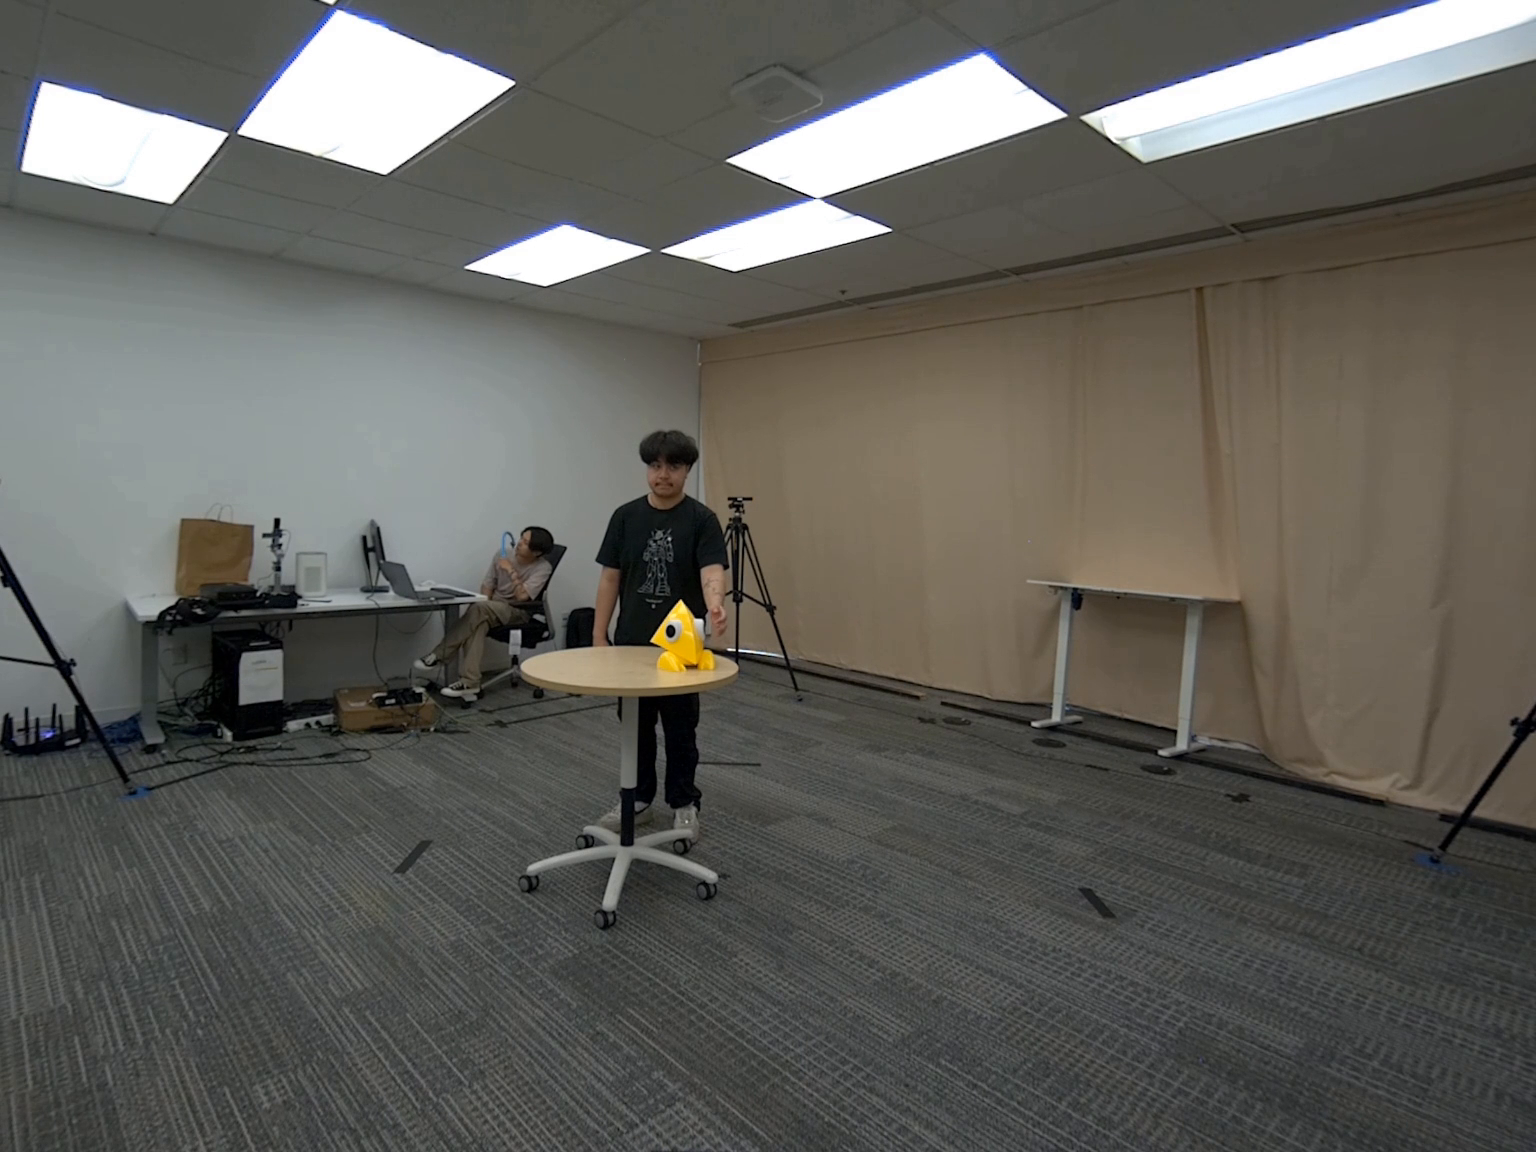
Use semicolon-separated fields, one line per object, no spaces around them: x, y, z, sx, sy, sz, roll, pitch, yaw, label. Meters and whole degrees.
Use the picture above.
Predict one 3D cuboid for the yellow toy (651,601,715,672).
-0.306;0.210;2.996;0.201;0.230;0.197;1;4;-27;yellow toy
